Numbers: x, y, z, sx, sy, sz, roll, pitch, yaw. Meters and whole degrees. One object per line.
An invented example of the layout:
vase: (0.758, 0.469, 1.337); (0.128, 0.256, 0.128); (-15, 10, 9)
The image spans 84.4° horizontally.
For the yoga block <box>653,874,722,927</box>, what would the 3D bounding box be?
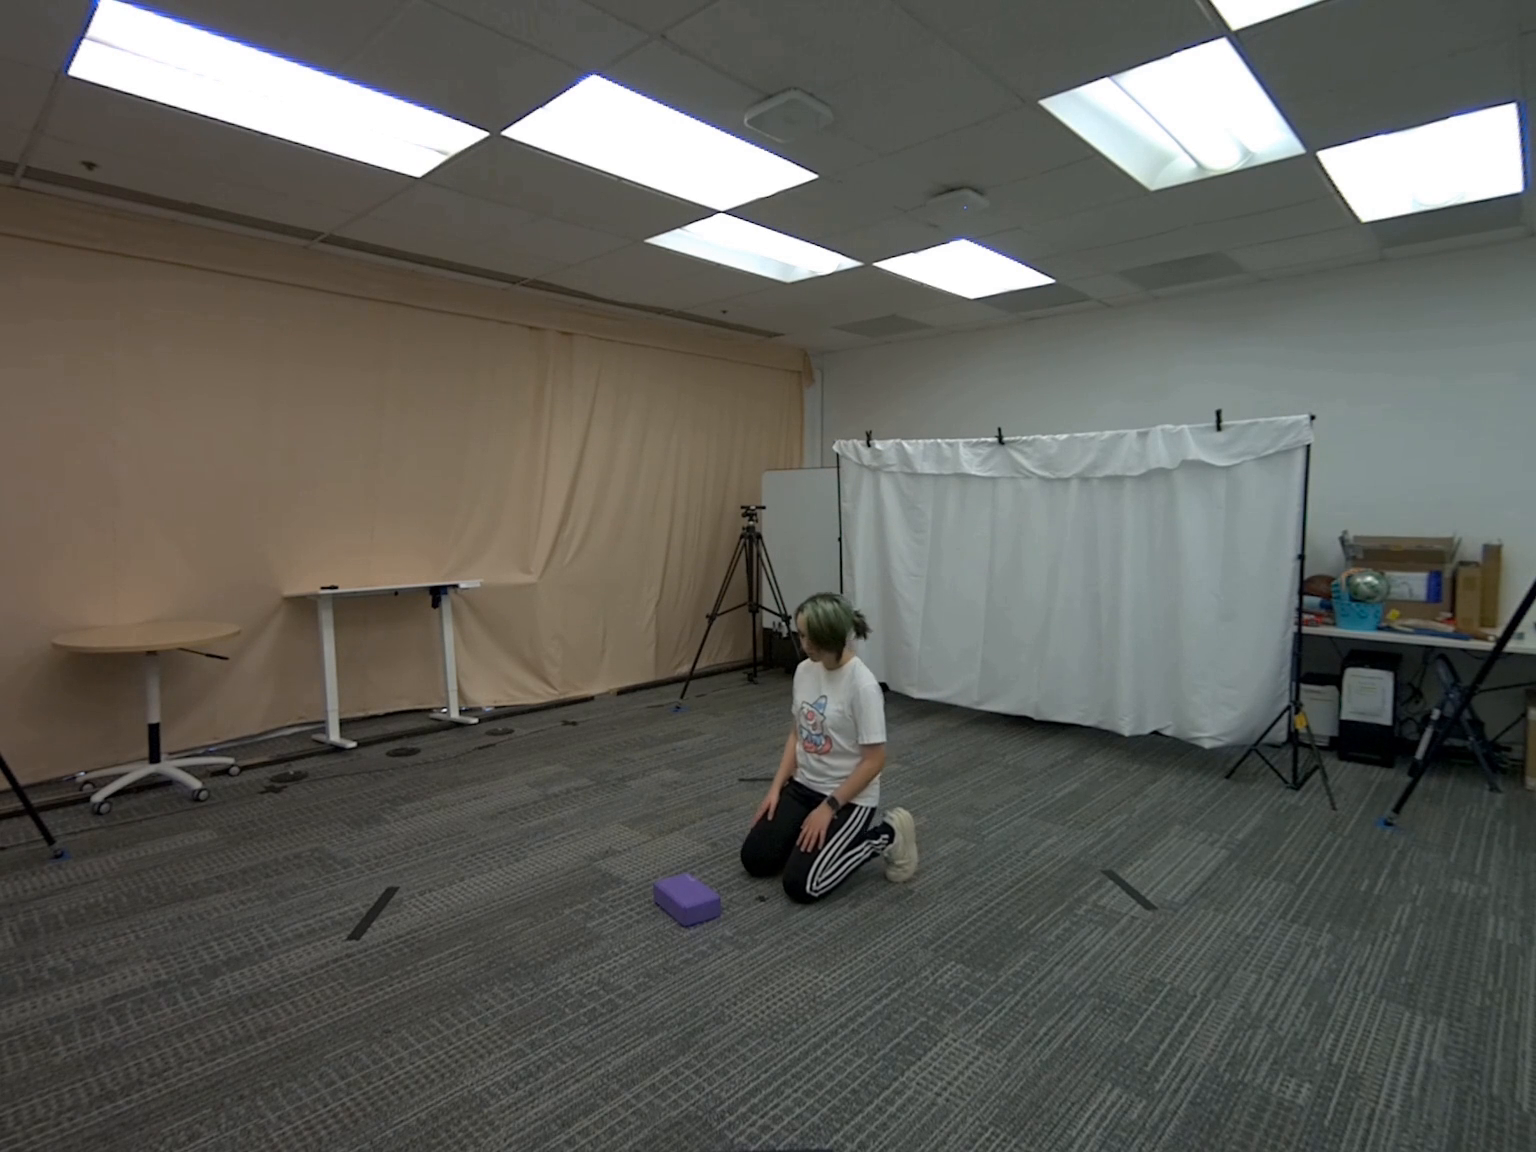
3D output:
yoga block: (-0.278, 1.109, 2.904); (0.145, 0.076, 0.236); (-5, 8, -33)
